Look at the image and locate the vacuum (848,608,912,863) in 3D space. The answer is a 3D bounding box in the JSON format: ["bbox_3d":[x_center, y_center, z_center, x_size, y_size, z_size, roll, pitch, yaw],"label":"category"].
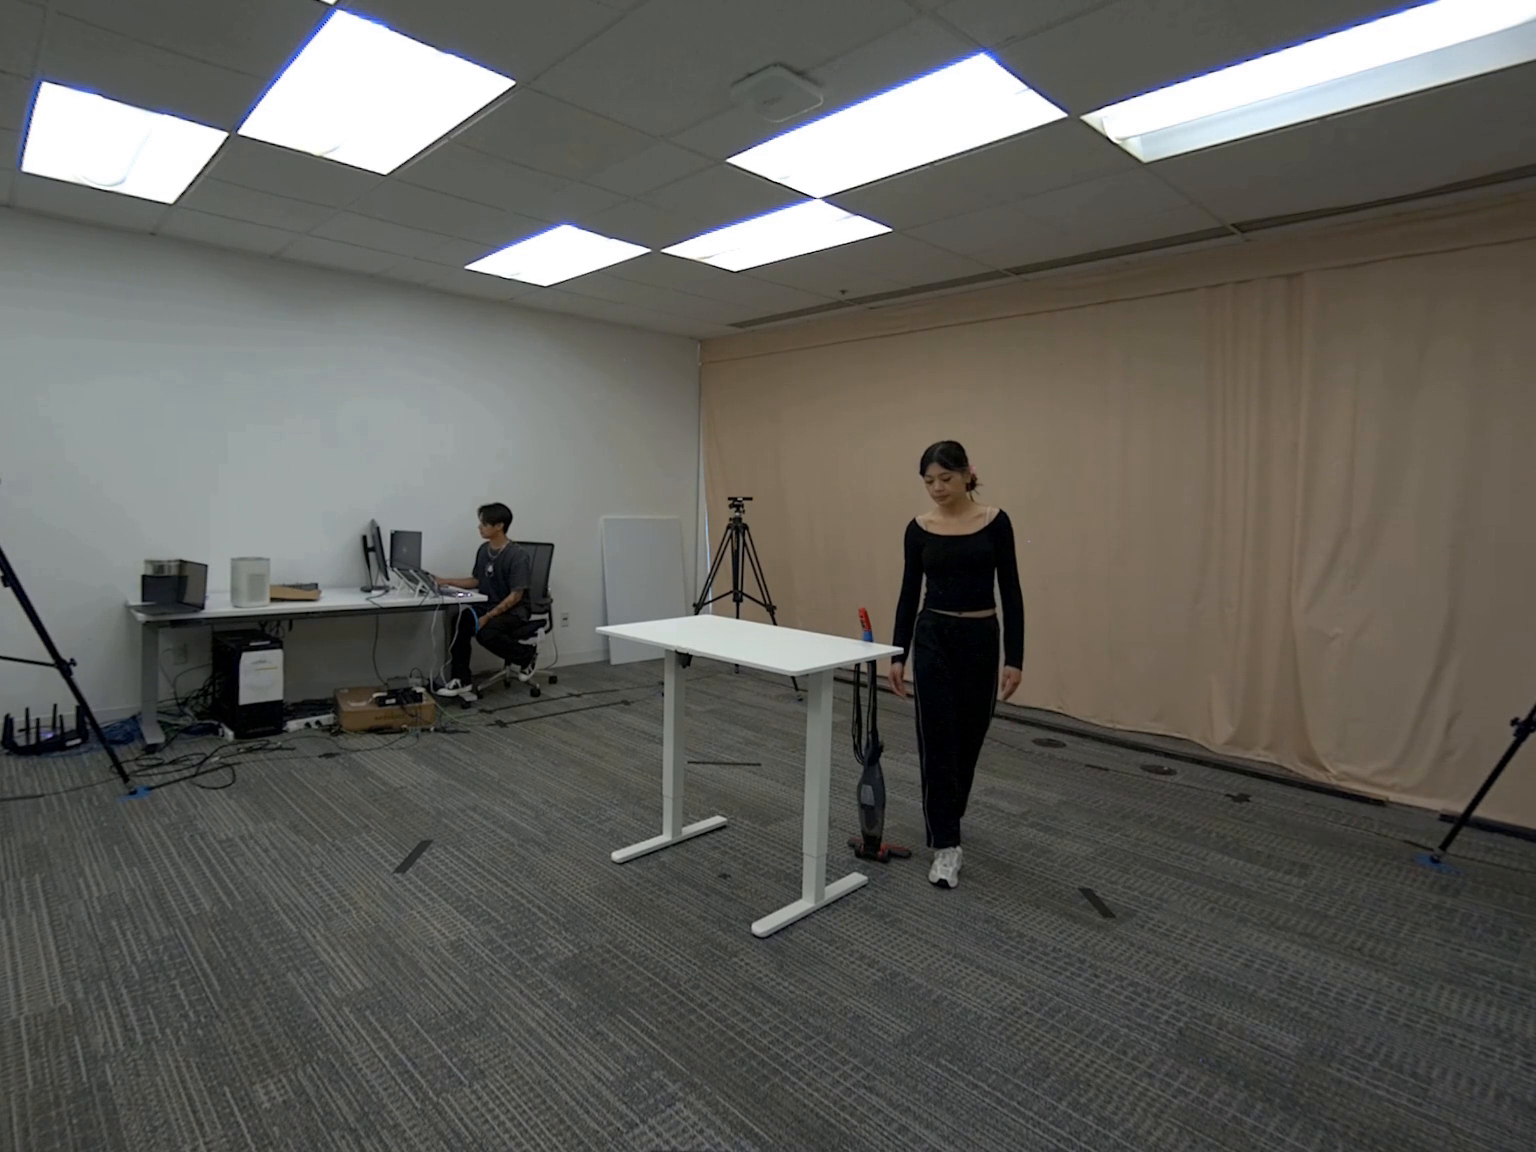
[{"bbox_3d":[0.381,0.615,3.165,0.259,1.034,0.142,8,23,34],"label":"vacuum"}]
